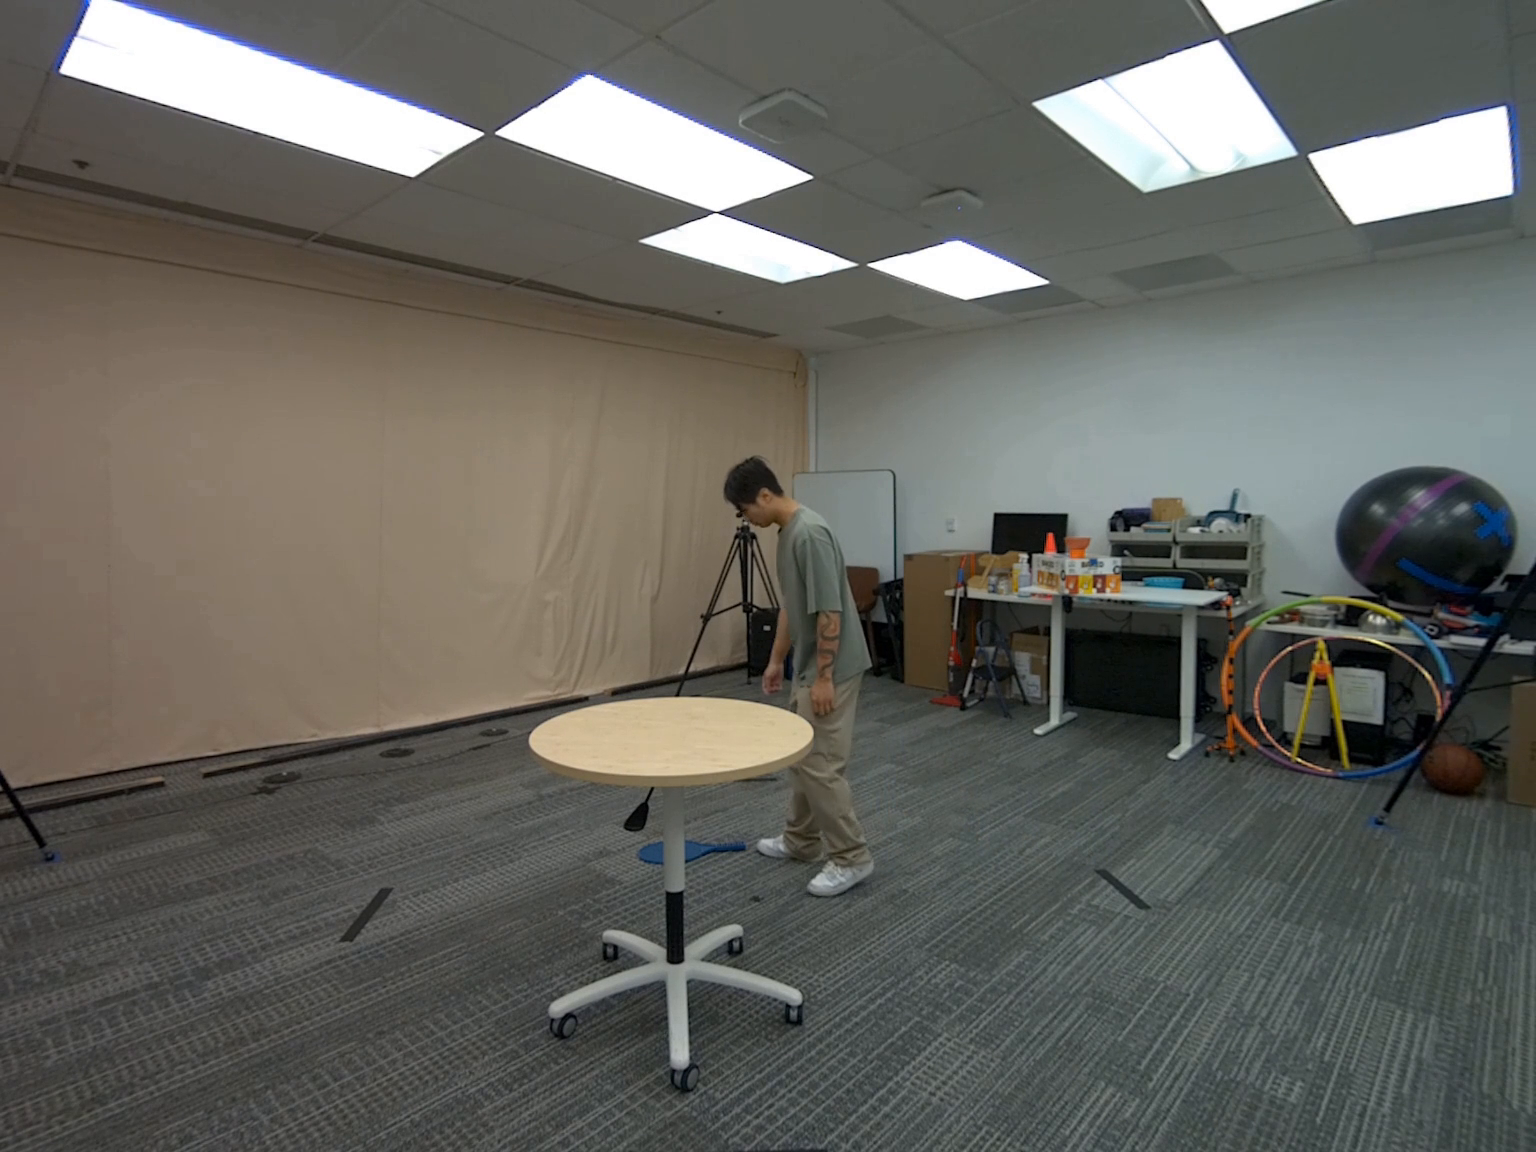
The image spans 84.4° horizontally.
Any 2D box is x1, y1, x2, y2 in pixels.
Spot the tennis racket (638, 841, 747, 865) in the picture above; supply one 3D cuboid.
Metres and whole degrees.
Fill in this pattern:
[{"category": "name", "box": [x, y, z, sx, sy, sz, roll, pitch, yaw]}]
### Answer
[{"category": "tennis racket", "box": [-0.305, 1.104, 3.389, 0.429, 0.032, 0.216, -2, 5, -8]}]
